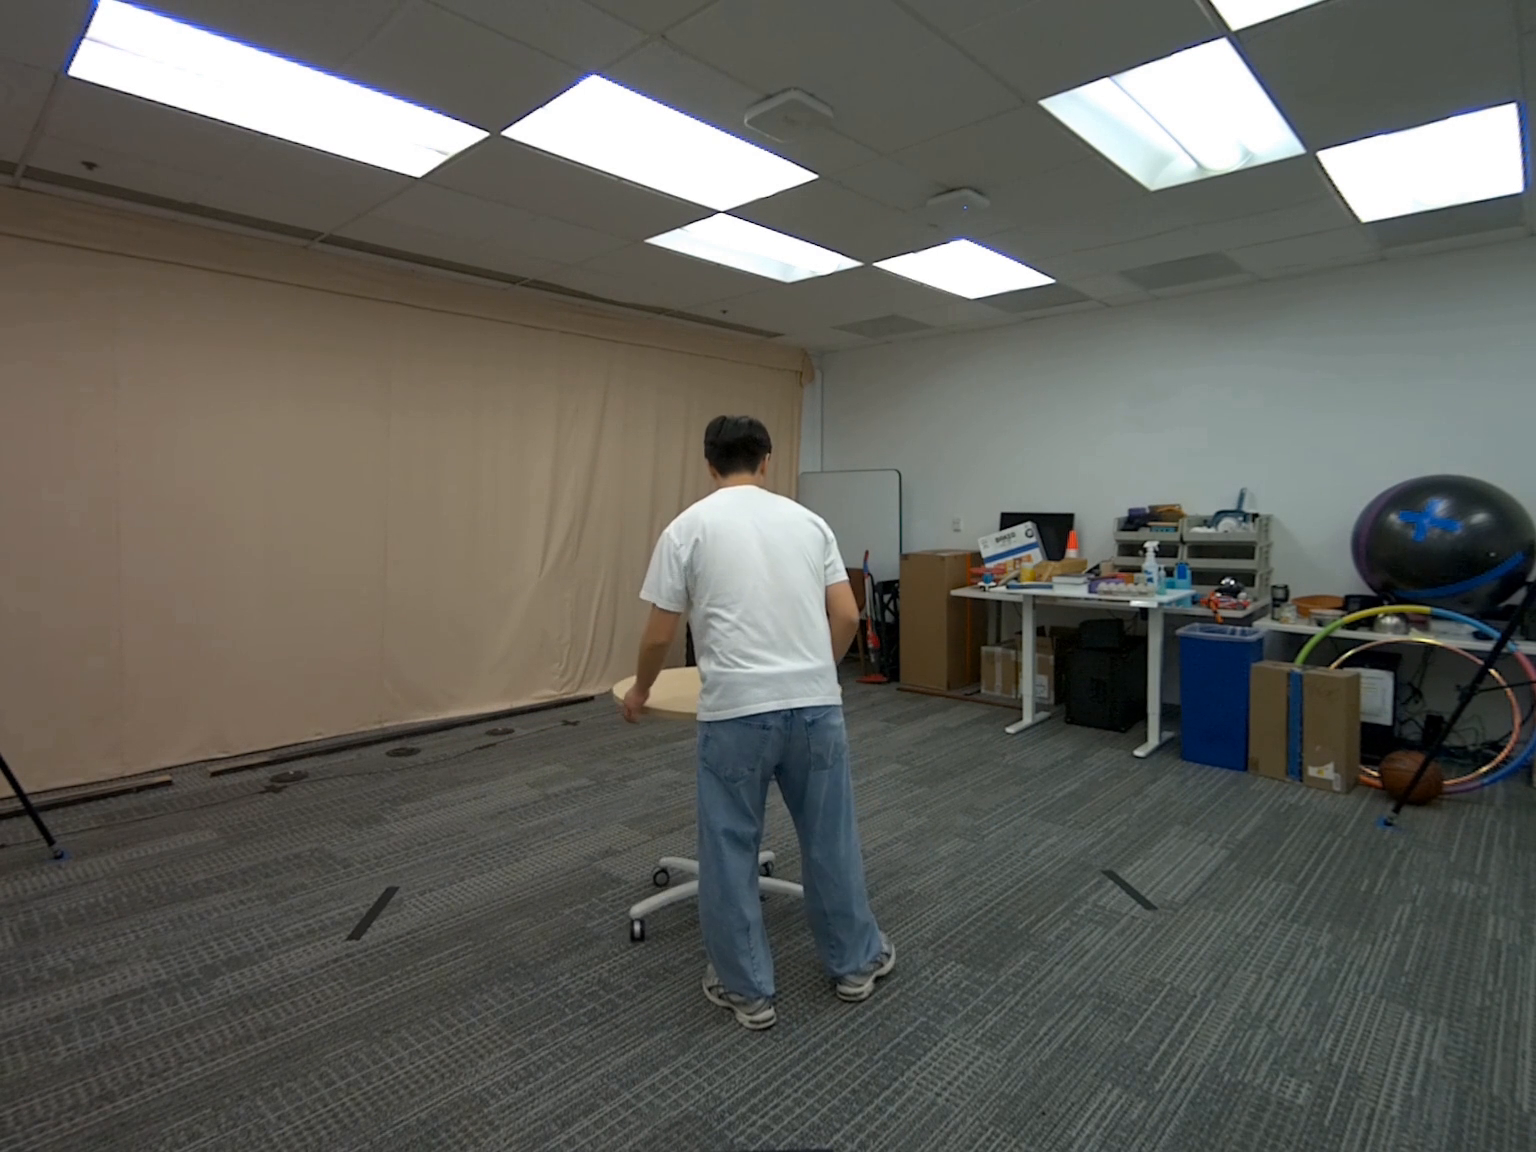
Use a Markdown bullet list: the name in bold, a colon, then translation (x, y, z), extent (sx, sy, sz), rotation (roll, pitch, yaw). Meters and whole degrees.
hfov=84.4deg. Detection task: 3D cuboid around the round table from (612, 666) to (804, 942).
- **round table**: translation (-0.130, 0.761, 2.865), extent (0.784, 0.784, 0.788), rotation (0, 4, -2)
